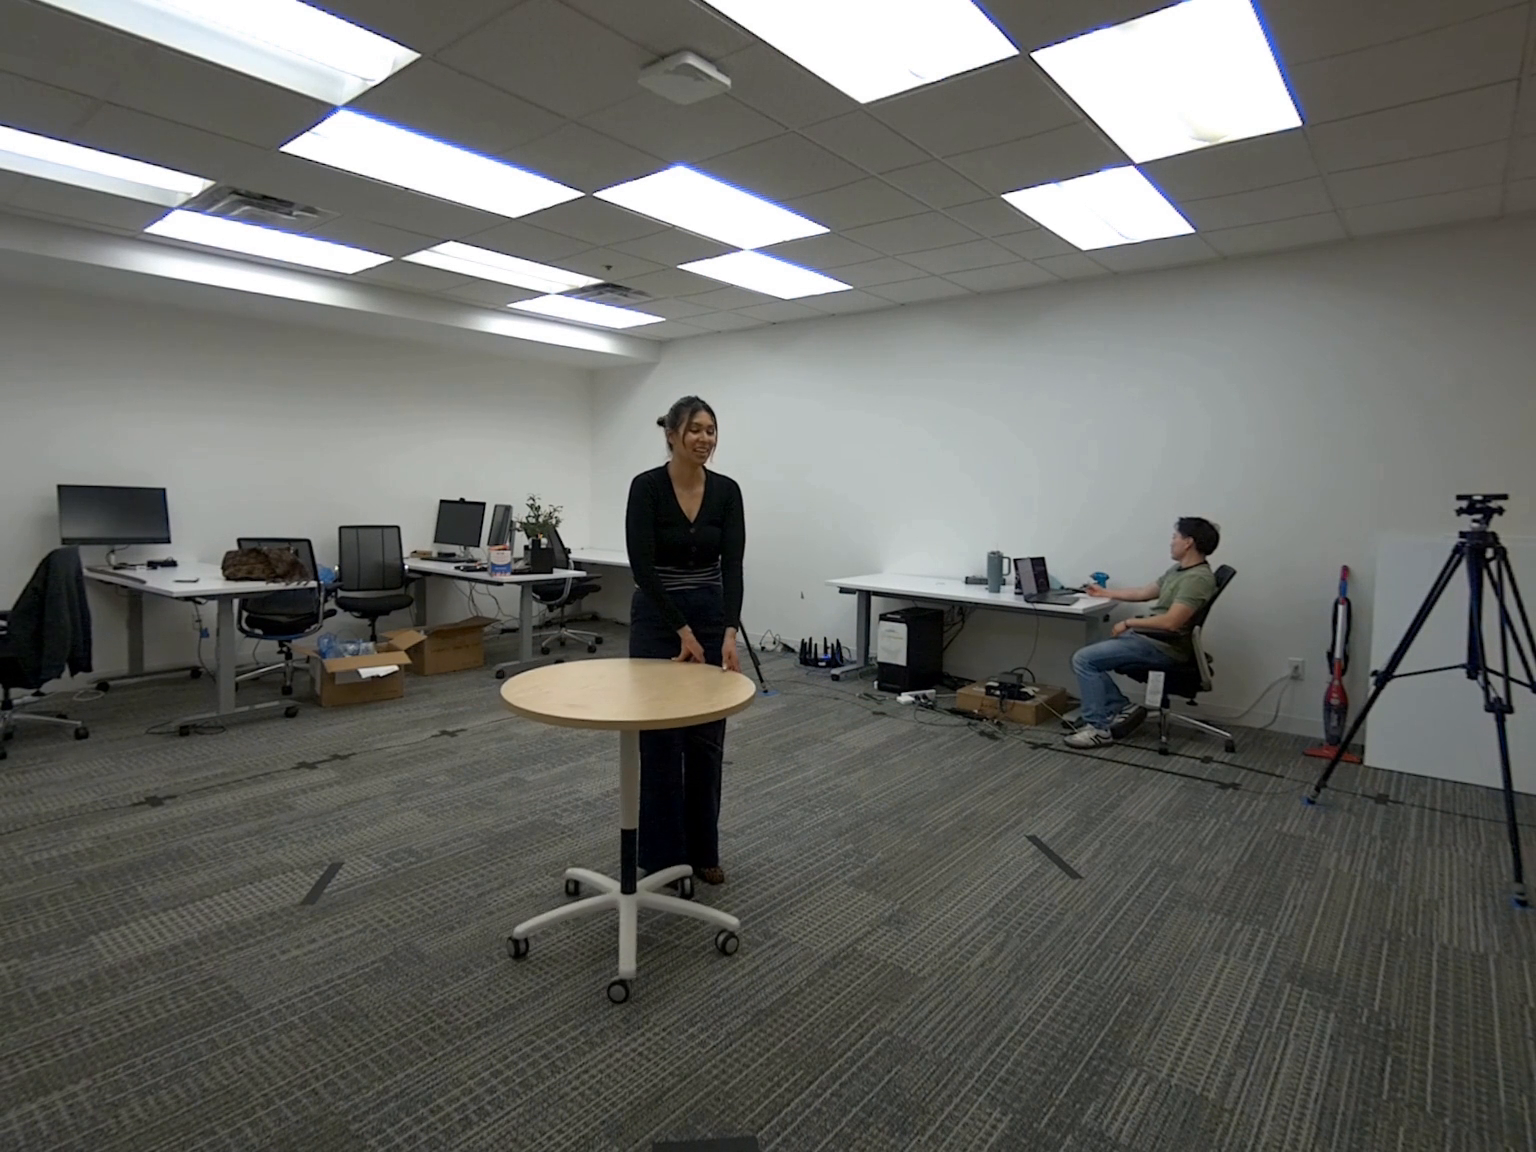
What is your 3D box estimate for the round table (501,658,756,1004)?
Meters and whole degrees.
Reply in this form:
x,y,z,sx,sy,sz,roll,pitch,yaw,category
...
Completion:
x,y,z,sx,sy,sz,roll,pitch,yaw,category
-0.441,0.723,2.611,0.763,0.791,0.768,0,5,-2,round table
